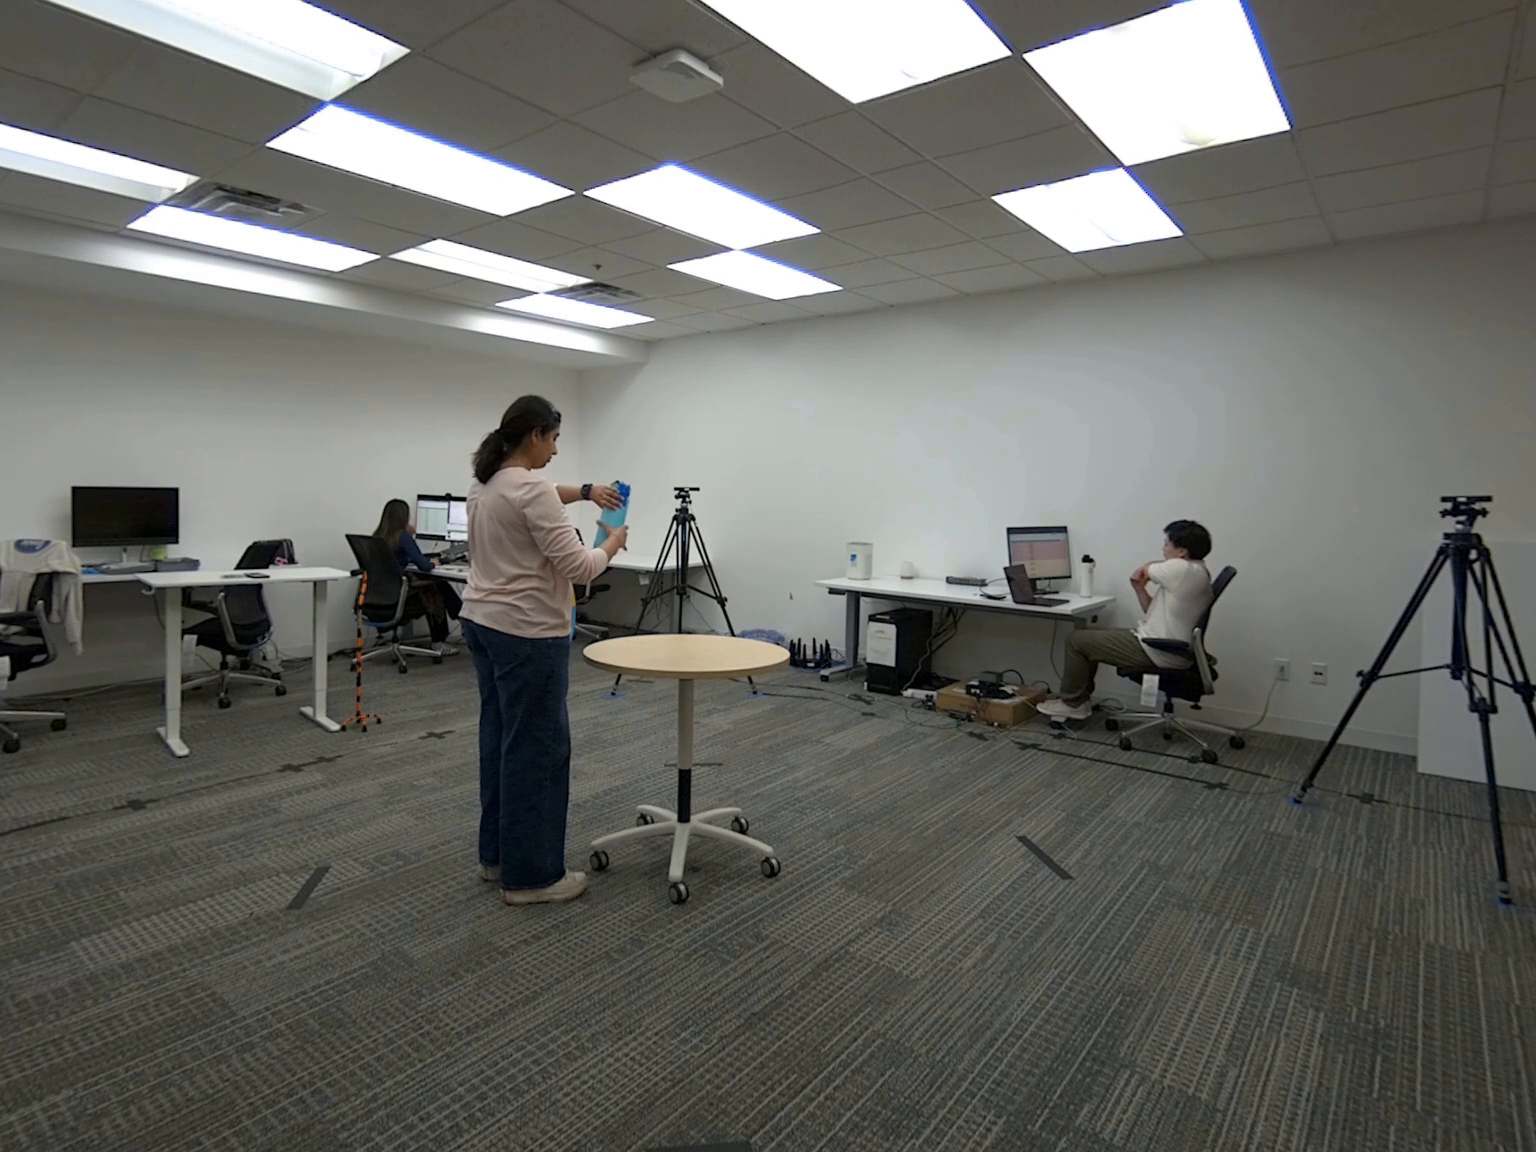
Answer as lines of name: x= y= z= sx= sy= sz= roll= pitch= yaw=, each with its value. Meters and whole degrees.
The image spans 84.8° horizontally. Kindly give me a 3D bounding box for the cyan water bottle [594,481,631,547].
cyan water bottle: x=-0.582 y=-0.221 z=3.128 sx=0.092 sy=0.286 sz=0.091 roll=10 pitch=-13 yaw=0
